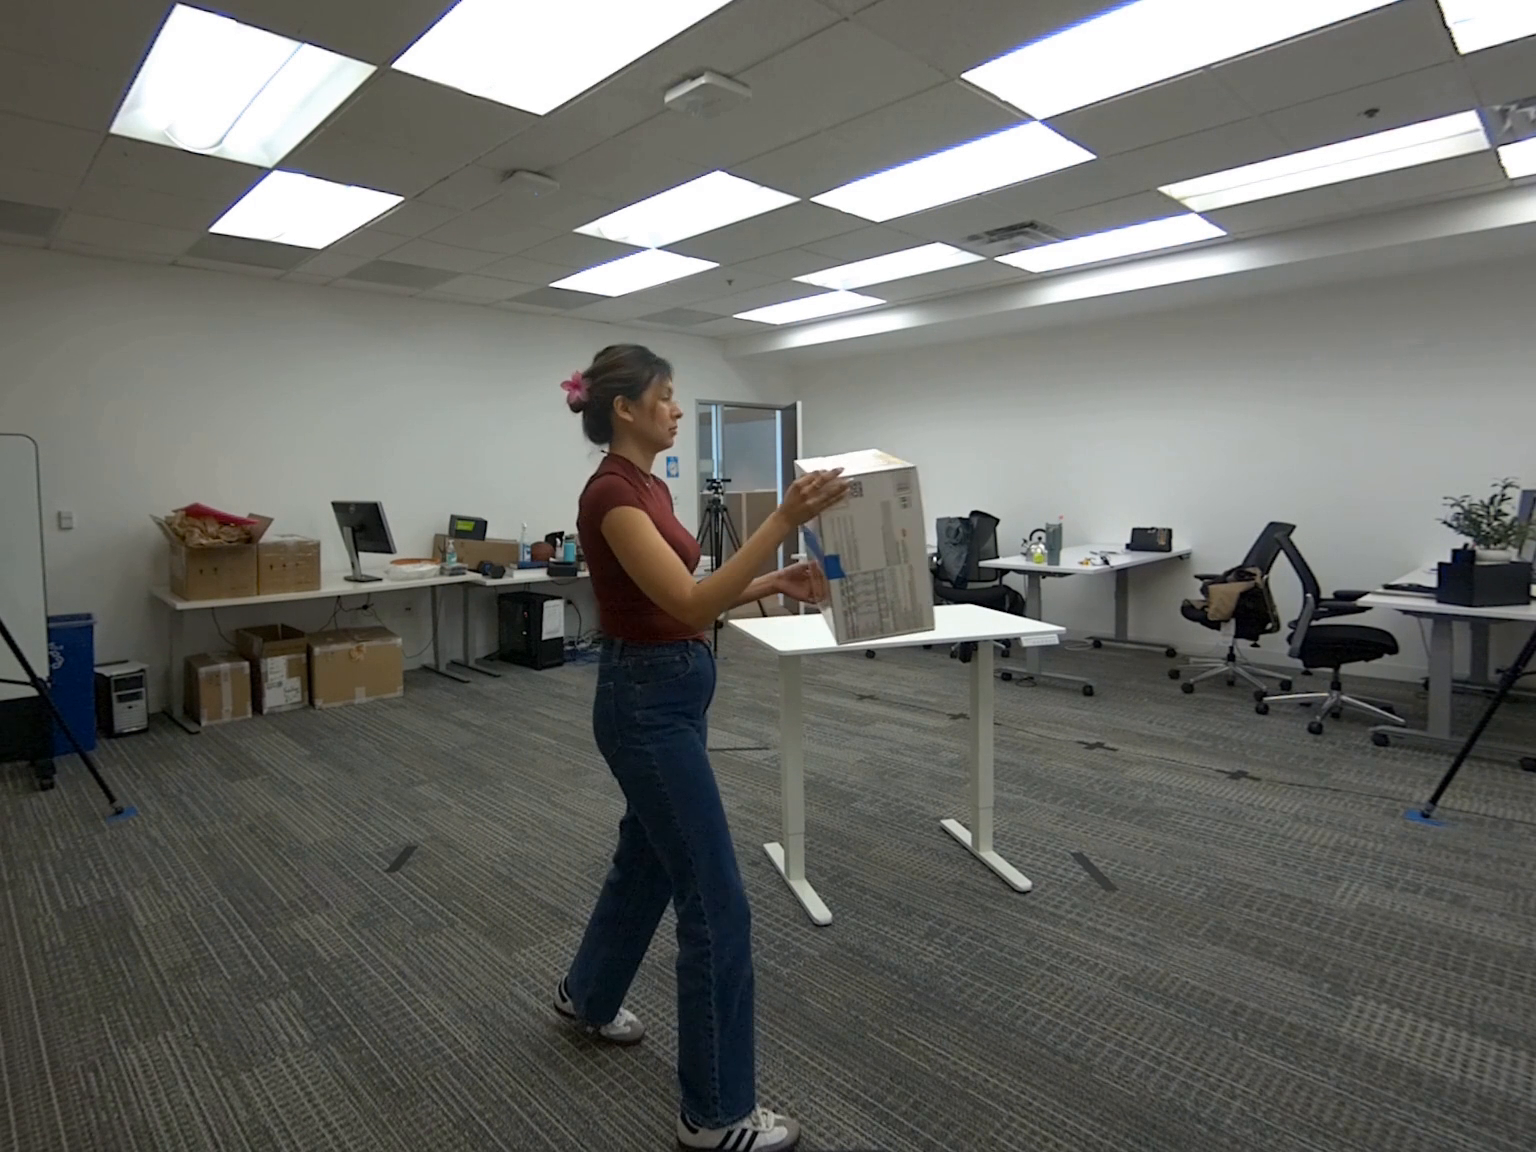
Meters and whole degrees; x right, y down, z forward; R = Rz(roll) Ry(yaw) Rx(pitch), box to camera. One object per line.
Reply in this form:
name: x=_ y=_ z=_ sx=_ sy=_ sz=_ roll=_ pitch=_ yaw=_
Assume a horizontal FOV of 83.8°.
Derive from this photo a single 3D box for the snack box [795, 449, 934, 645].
snack box: x=0.201 y=-0.084 z=1.879 sx=0.205 sy=0.336 sz=0.411 roll=-10 pitch=13 yaw=-2
